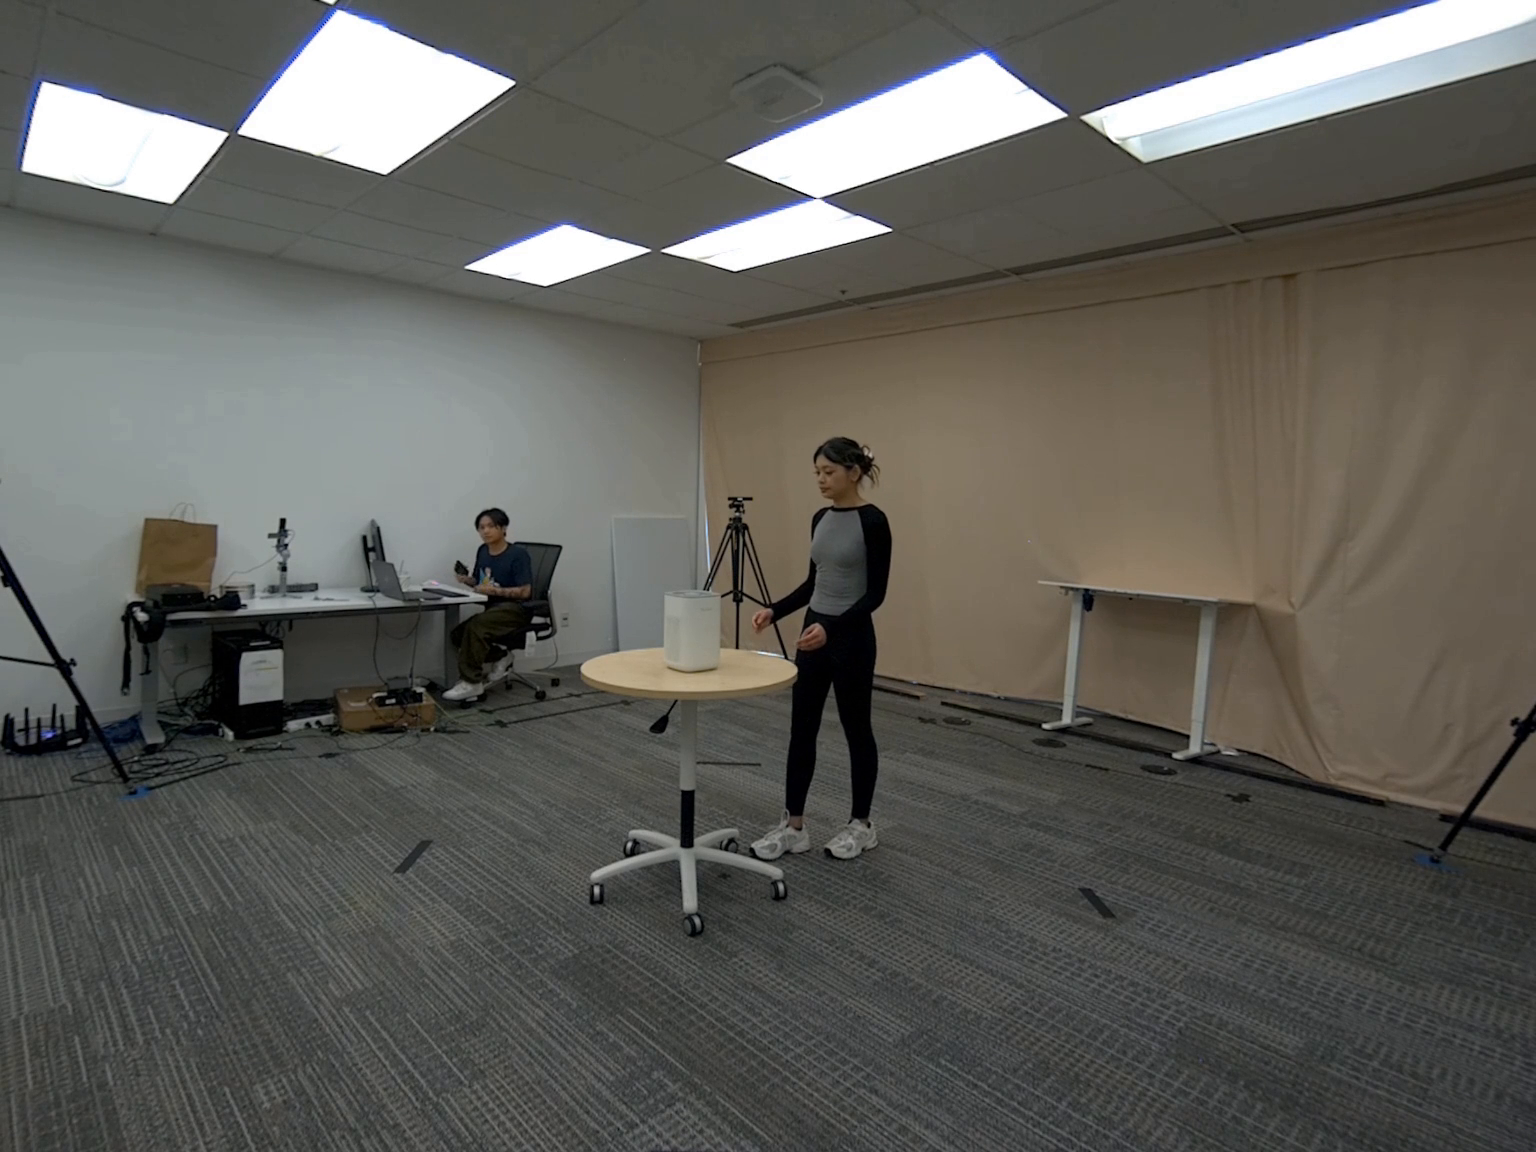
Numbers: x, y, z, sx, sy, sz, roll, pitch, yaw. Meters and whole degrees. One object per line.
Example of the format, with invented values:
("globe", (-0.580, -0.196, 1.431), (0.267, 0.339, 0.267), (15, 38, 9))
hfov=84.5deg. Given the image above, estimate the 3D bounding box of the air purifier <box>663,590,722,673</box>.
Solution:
("air purifier", (-0.273, 0.190, 2.958), (0.167, 0.265, 0.176), (-1, 4, -42))
